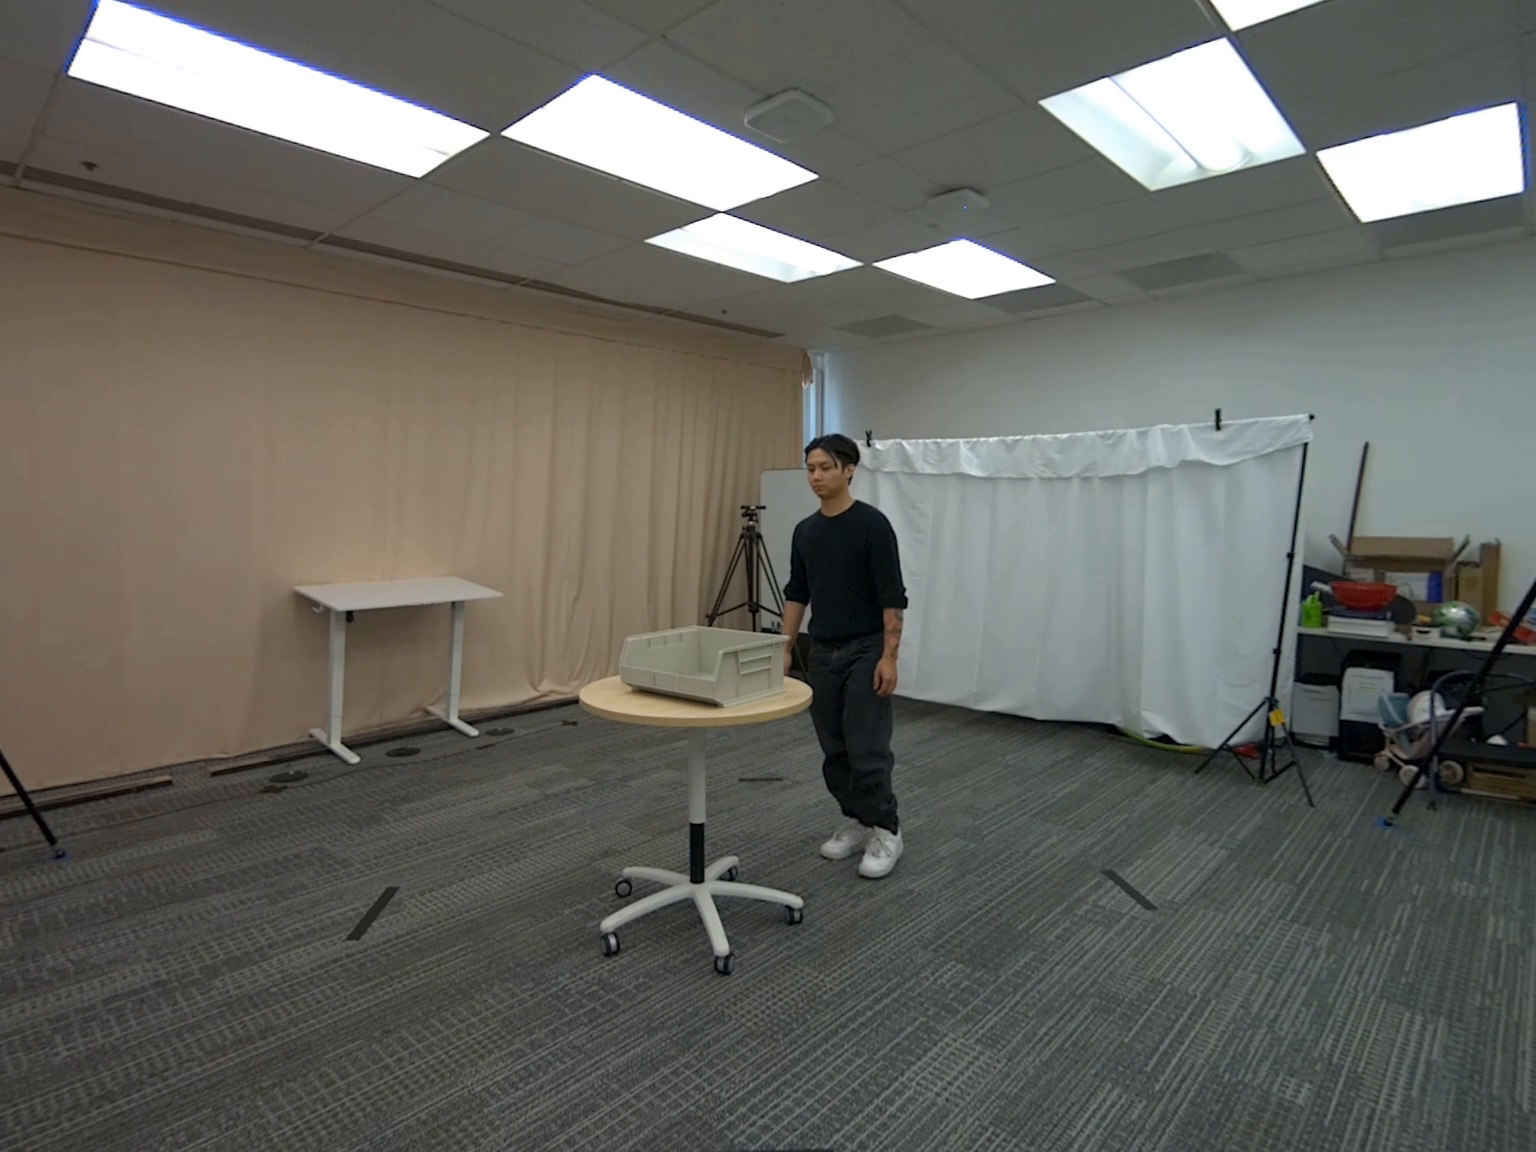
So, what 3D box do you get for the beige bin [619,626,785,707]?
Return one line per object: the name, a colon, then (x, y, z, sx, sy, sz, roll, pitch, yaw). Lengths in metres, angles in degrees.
beige bin: (-0.202, 0.290, 2.752, 0.436, 0.189, 0.366, 3, 3, 39)
